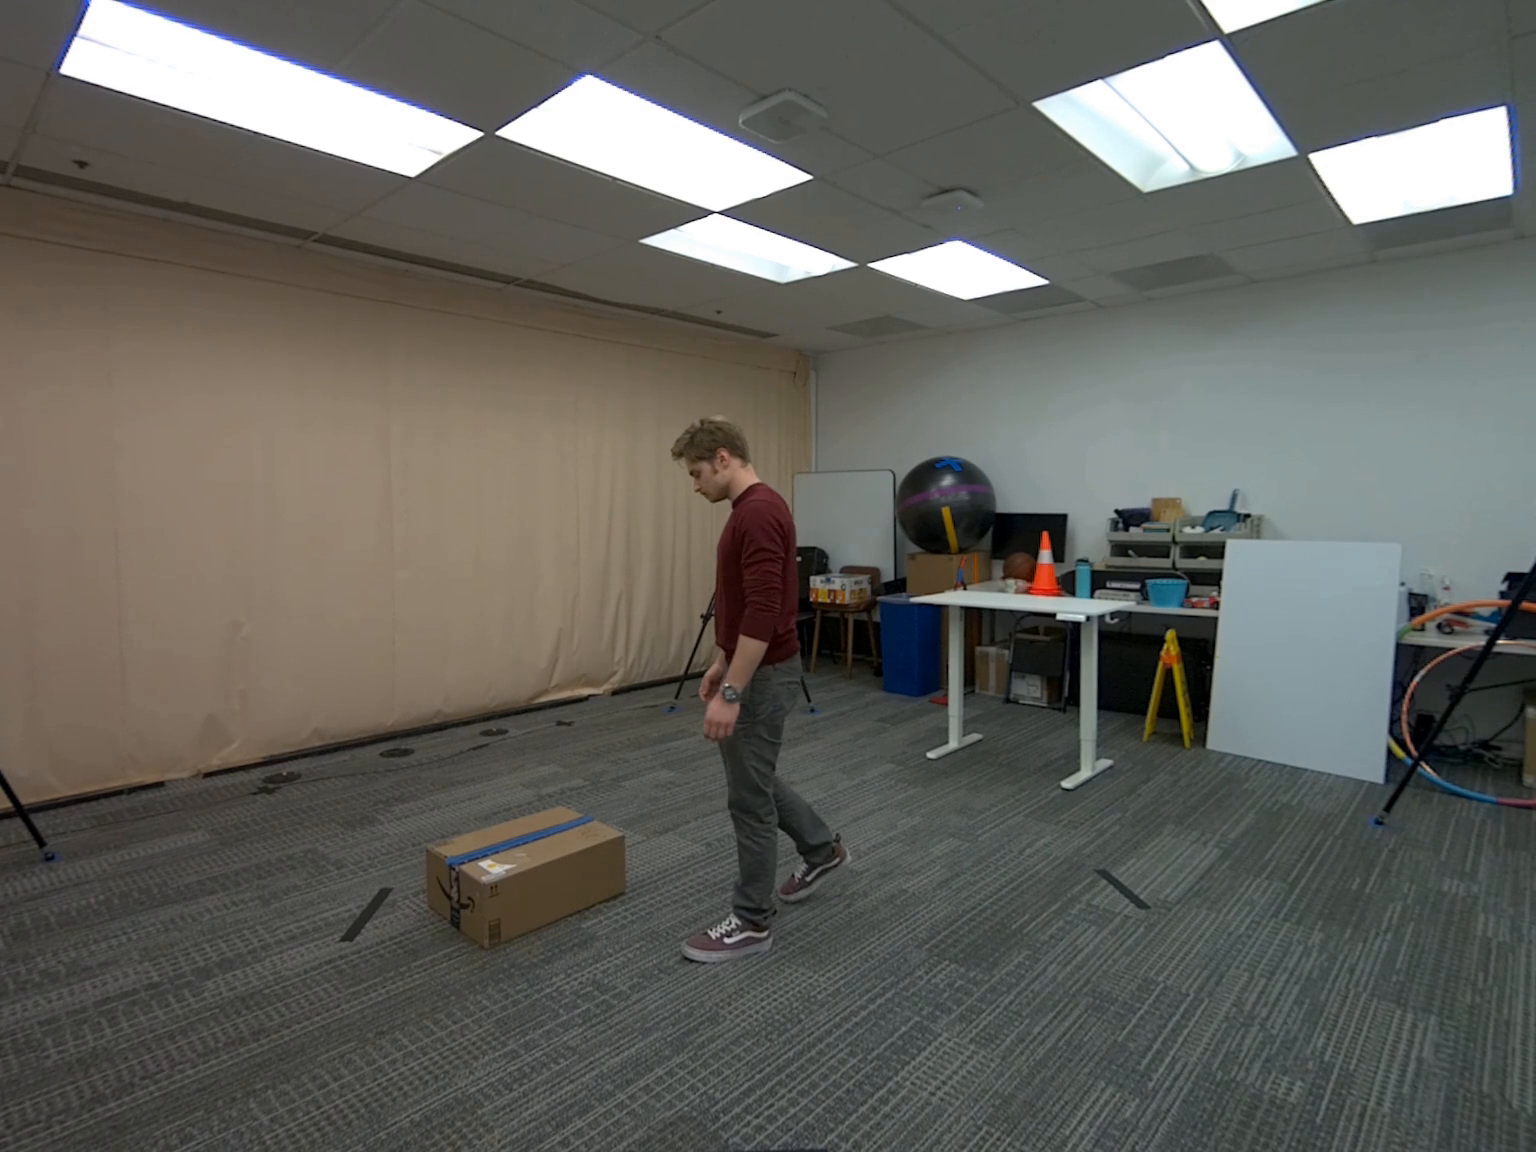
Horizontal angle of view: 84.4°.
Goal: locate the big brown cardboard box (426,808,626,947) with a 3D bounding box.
[{"bbox_3d":[-0.853,1.036,2.984,0.431,0.233,0.571,3,5,44],"label":"big brown cardboard box"}]
